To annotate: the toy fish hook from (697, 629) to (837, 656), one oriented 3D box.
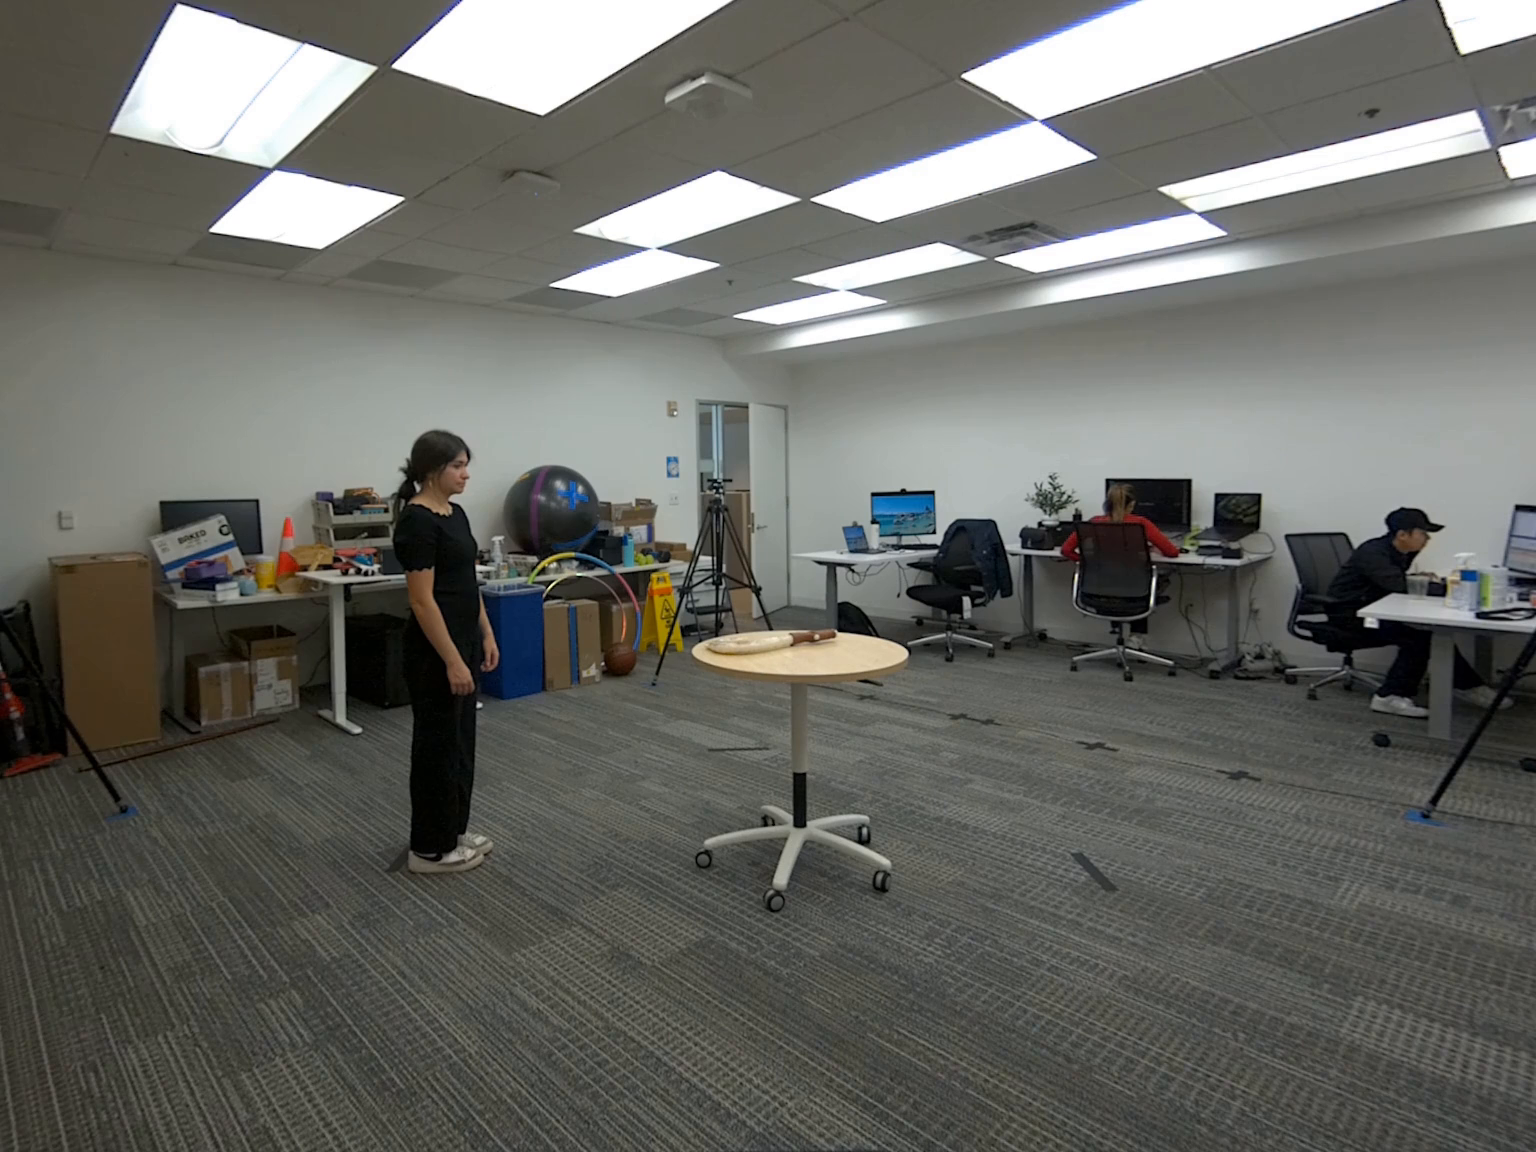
[{"bbox_3d":[0.007,0.226,3.142,0.496,0.048,0.232,-5,17,-26],"label":"toy fish hook"}]
